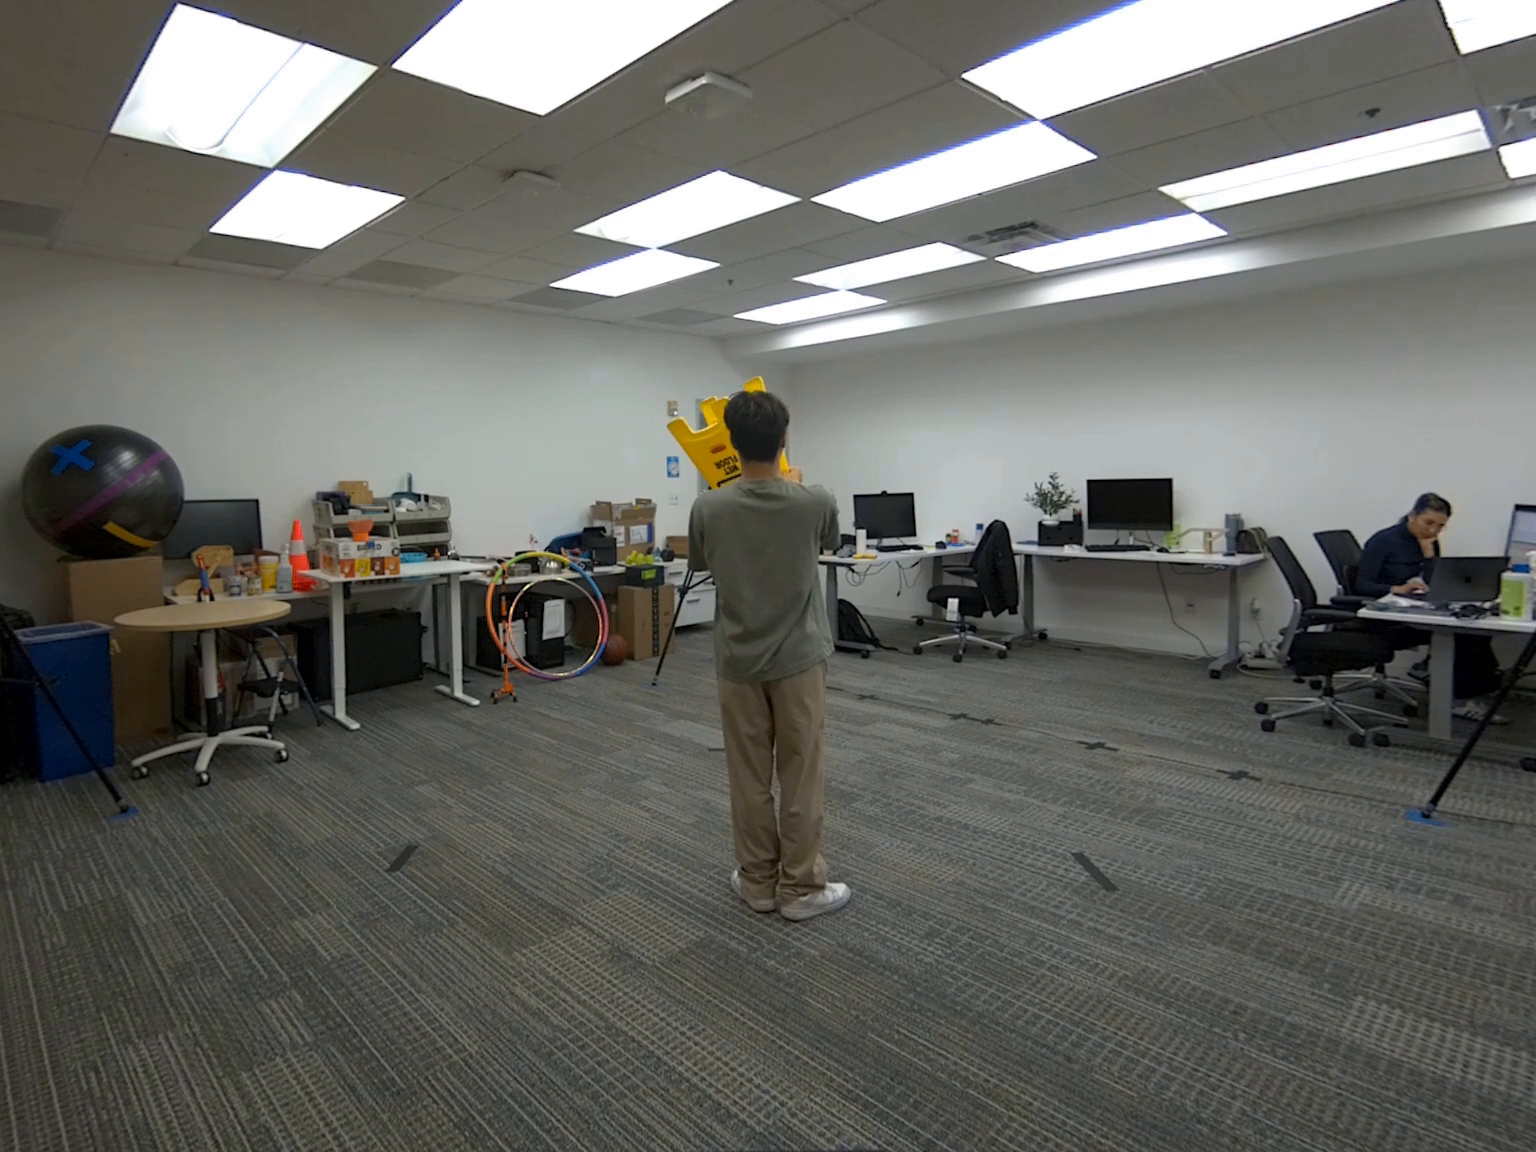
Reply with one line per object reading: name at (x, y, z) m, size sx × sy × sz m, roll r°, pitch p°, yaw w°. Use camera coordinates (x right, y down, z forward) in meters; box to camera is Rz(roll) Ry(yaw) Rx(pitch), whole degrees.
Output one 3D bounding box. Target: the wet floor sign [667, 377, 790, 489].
wet floor sign at (-0.059, -0.369, 3.196) m, size 0.287 × 0.637 × 0.289 m, roll -20°, pitch 14°, yaw 32°
